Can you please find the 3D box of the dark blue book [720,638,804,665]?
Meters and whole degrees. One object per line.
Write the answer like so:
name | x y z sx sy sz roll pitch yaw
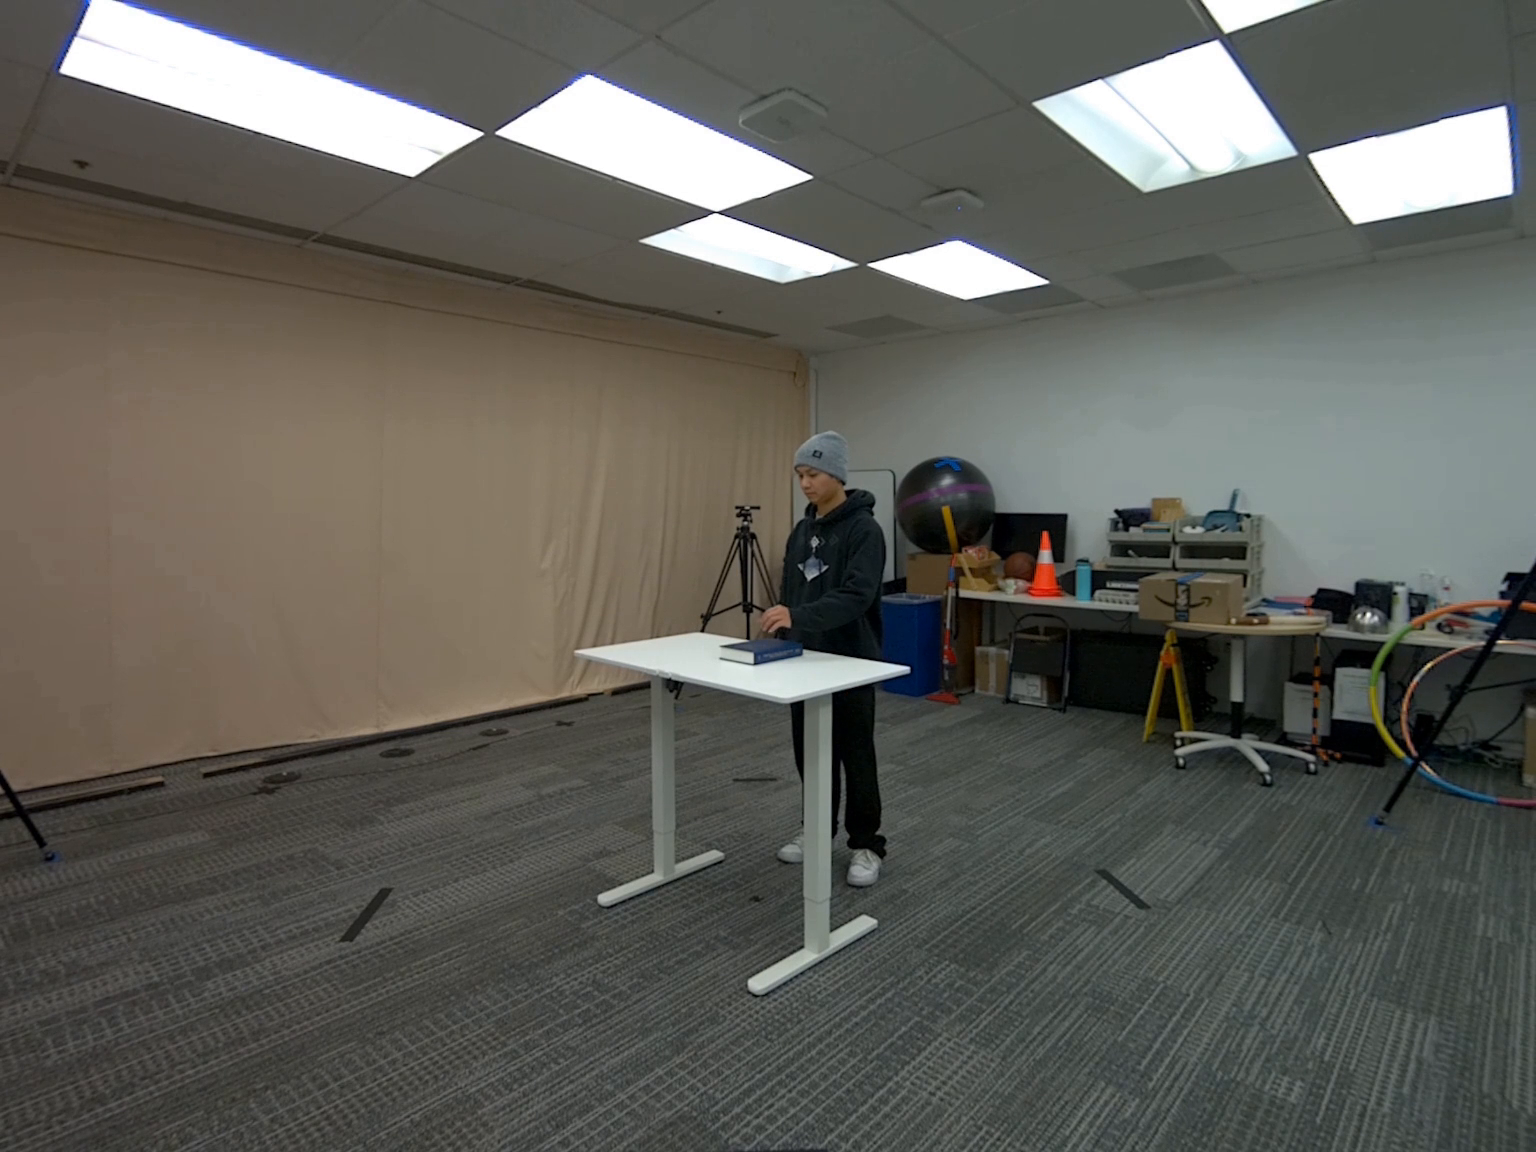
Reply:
dark blue book | -0.021 0.256 2.832 0.169 0.045 0.238 5 8 44
